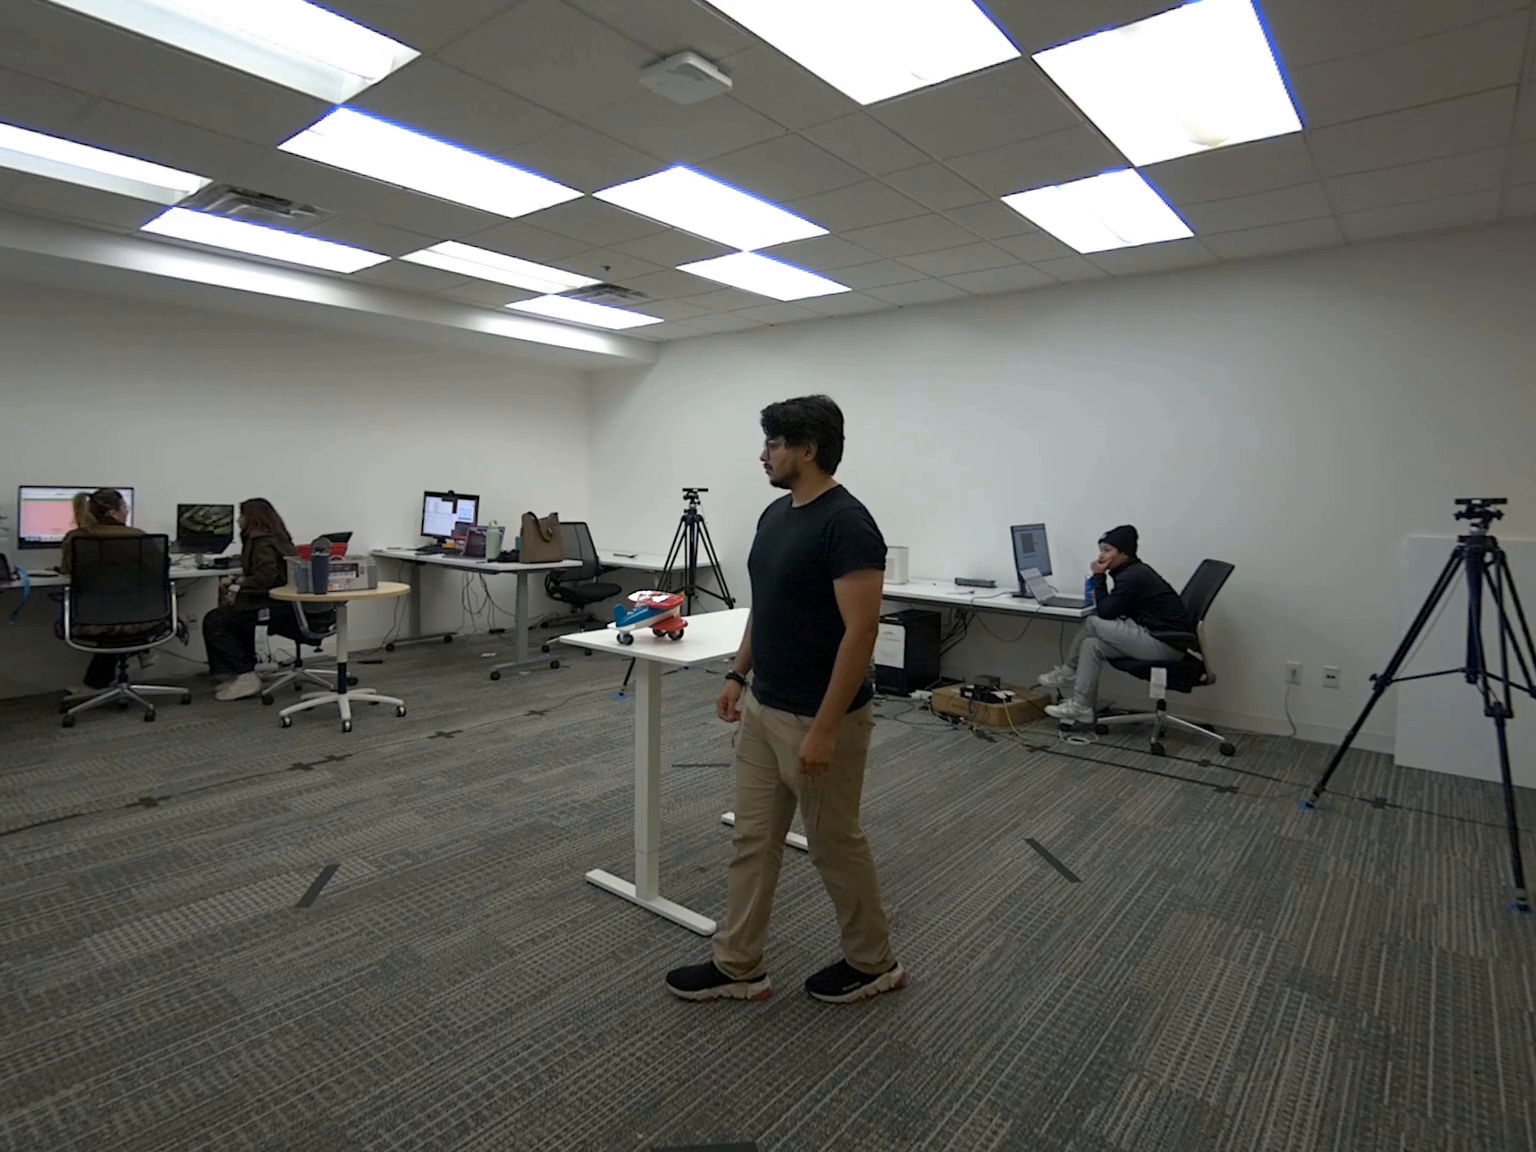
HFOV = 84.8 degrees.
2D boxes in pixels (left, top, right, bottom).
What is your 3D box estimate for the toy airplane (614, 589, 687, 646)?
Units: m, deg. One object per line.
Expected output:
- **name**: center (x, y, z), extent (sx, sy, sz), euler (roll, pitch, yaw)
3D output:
- **toy airplane**: center (-0.393, 0.138, 2.809), extent (0.256, 0.156, 0.254), euler (1, 4, 19)
